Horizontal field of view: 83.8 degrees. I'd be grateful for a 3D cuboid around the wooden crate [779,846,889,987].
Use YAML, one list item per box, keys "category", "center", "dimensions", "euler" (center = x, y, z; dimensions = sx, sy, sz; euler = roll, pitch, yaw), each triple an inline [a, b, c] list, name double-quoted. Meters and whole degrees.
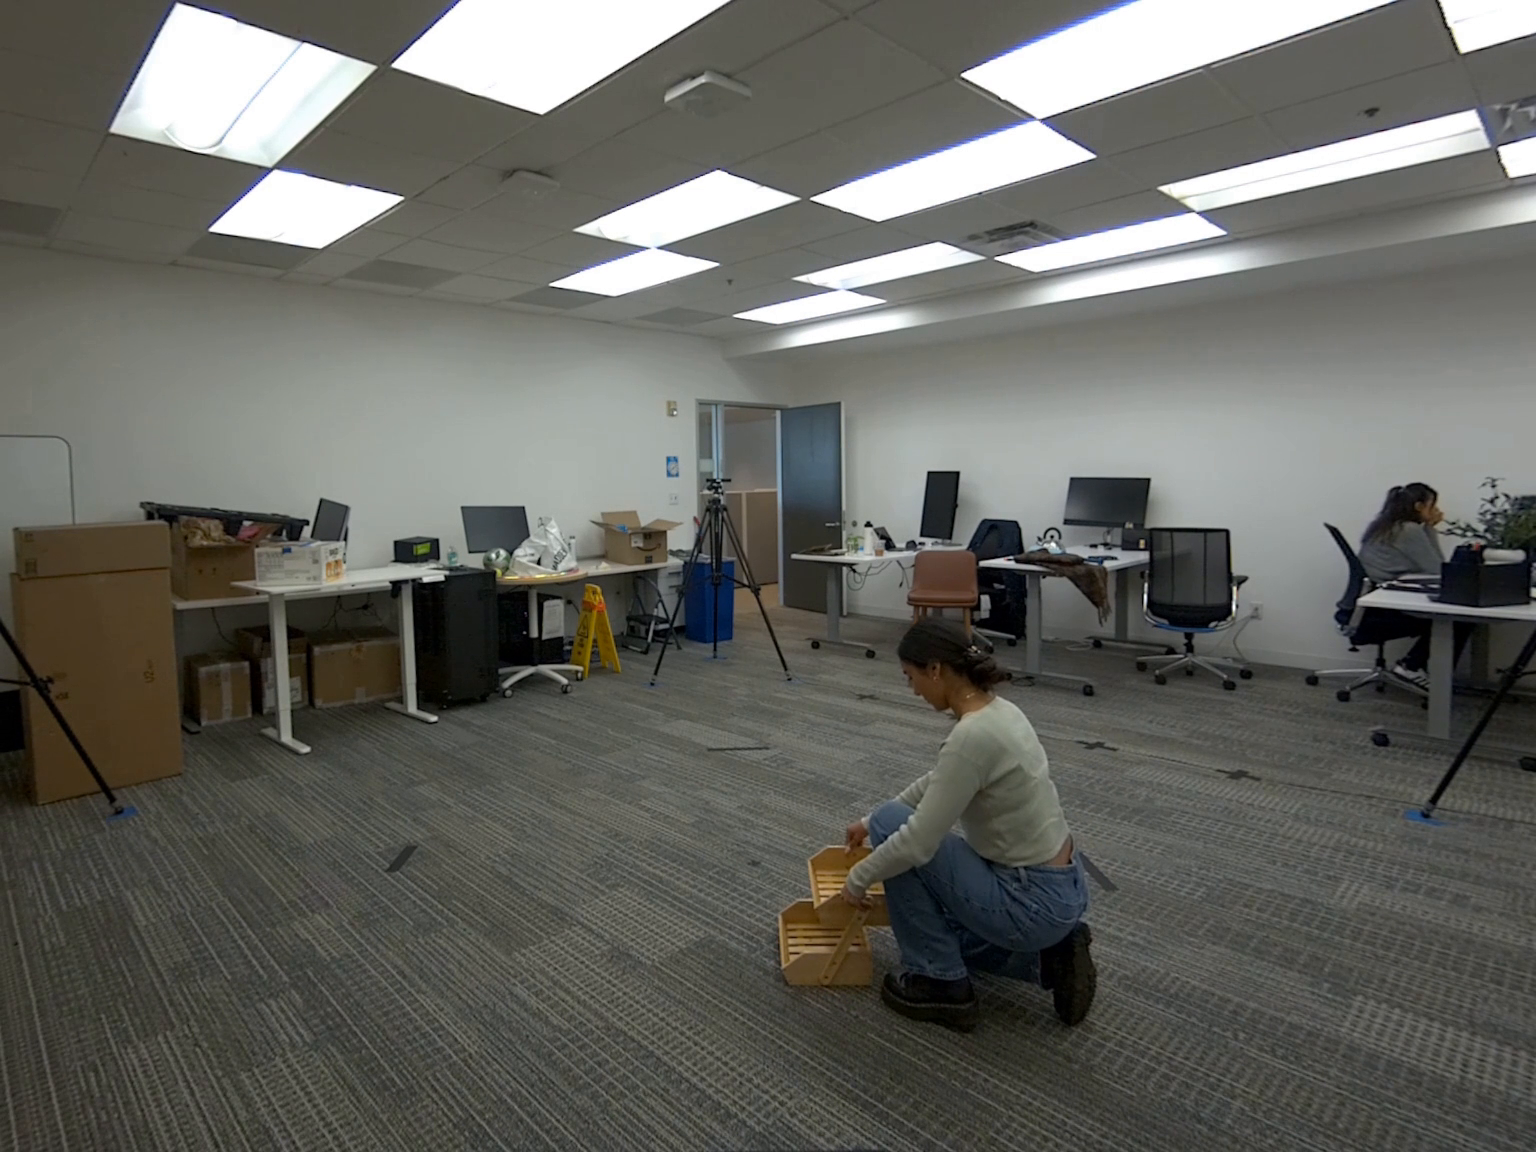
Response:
- category: "wooden crate"
  center: [0.184, 0.985, 2.484]
  dimensions: [0.302, 0.272, 0.326]
  euler: [-2, 6, 0]
